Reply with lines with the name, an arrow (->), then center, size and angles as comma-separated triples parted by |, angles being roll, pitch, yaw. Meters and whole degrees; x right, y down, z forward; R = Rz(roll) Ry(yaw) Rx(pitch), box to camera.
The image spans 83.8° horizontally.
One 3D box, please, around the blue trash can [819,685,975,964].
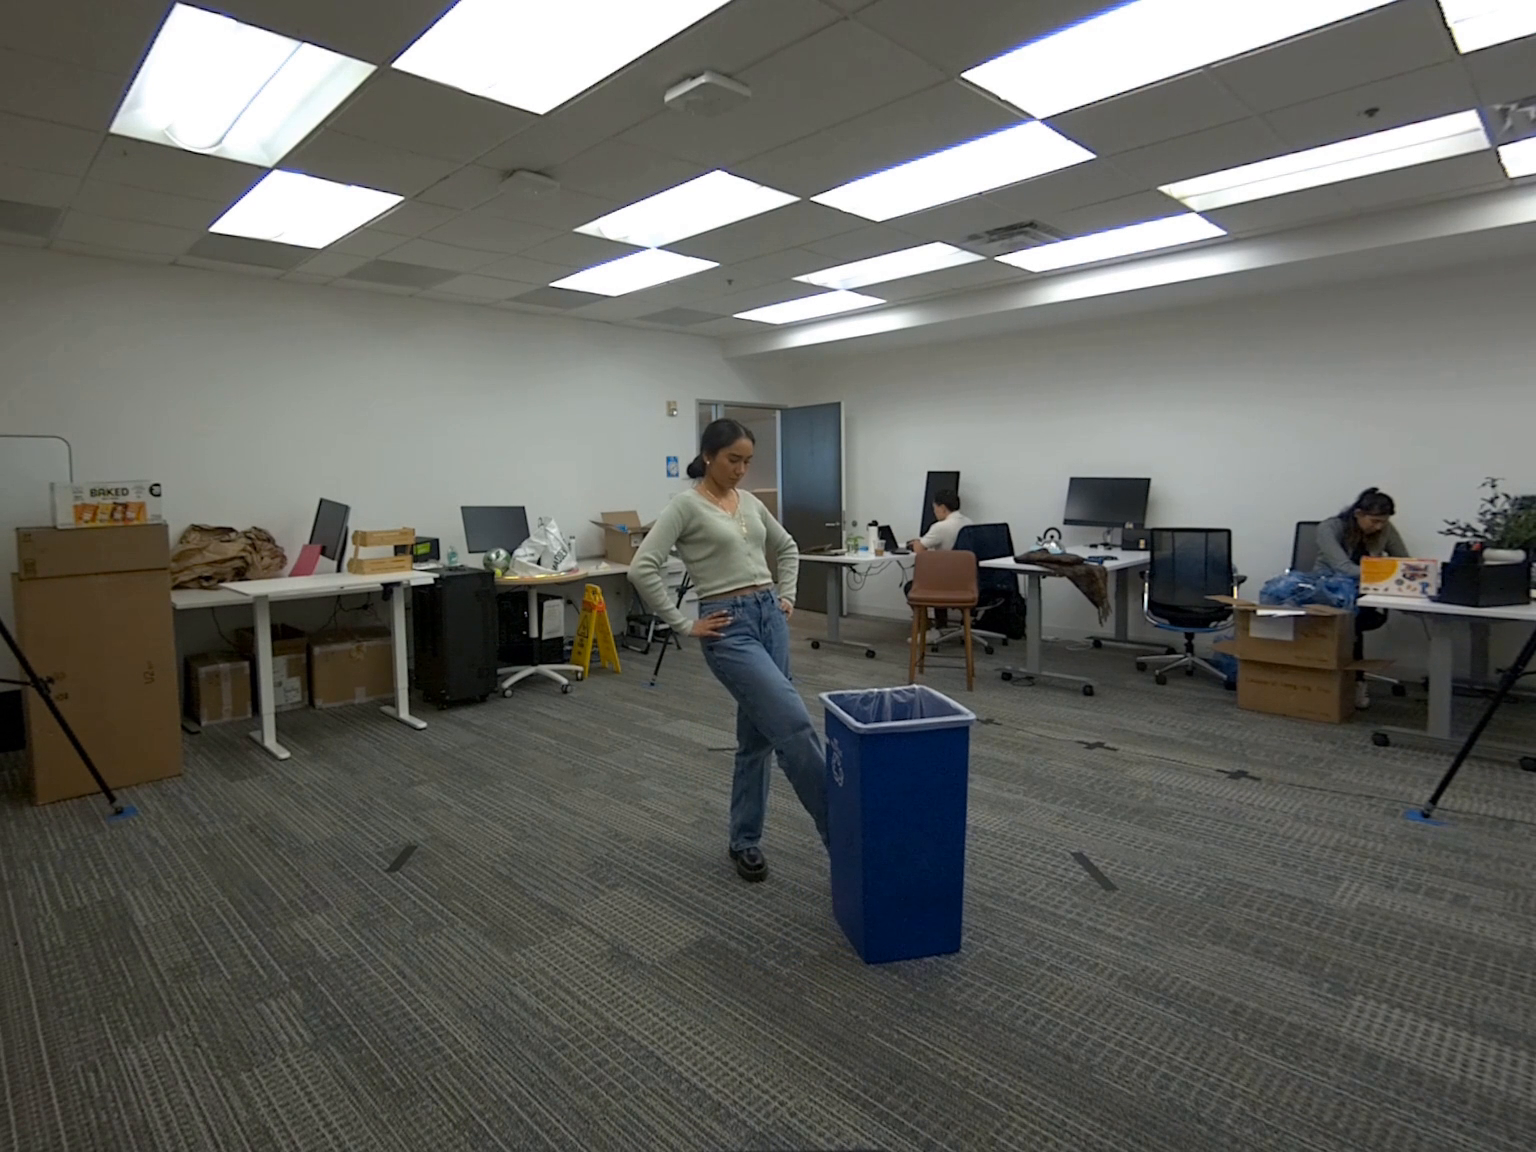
blue trash can -> 0.380, 0.741, 2.580 | 0.370, 0.710, 0.384 | -1, 6, -11
